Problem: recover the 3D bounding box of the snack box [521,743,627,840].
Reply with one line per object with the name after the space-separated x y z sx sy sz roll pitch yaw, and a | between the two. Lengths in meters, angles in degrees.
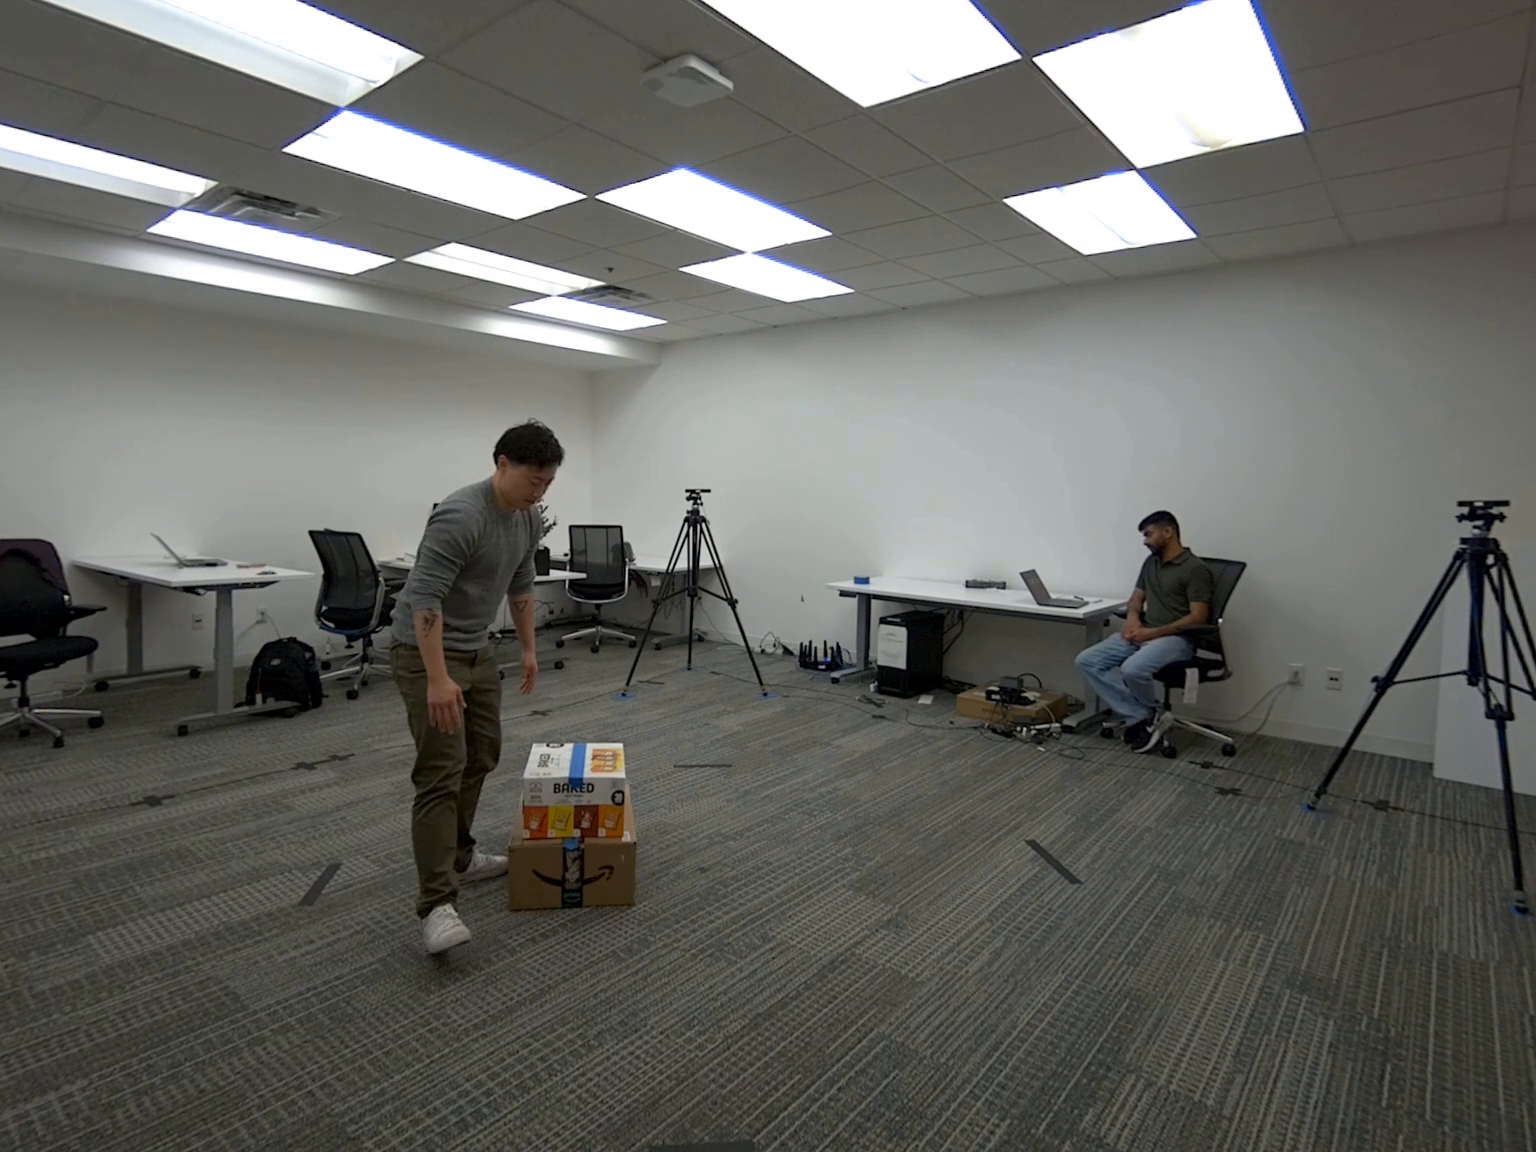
-0.698 0.756 3.035 0.337 0.205 0.410 1 5 -9 | snack box
